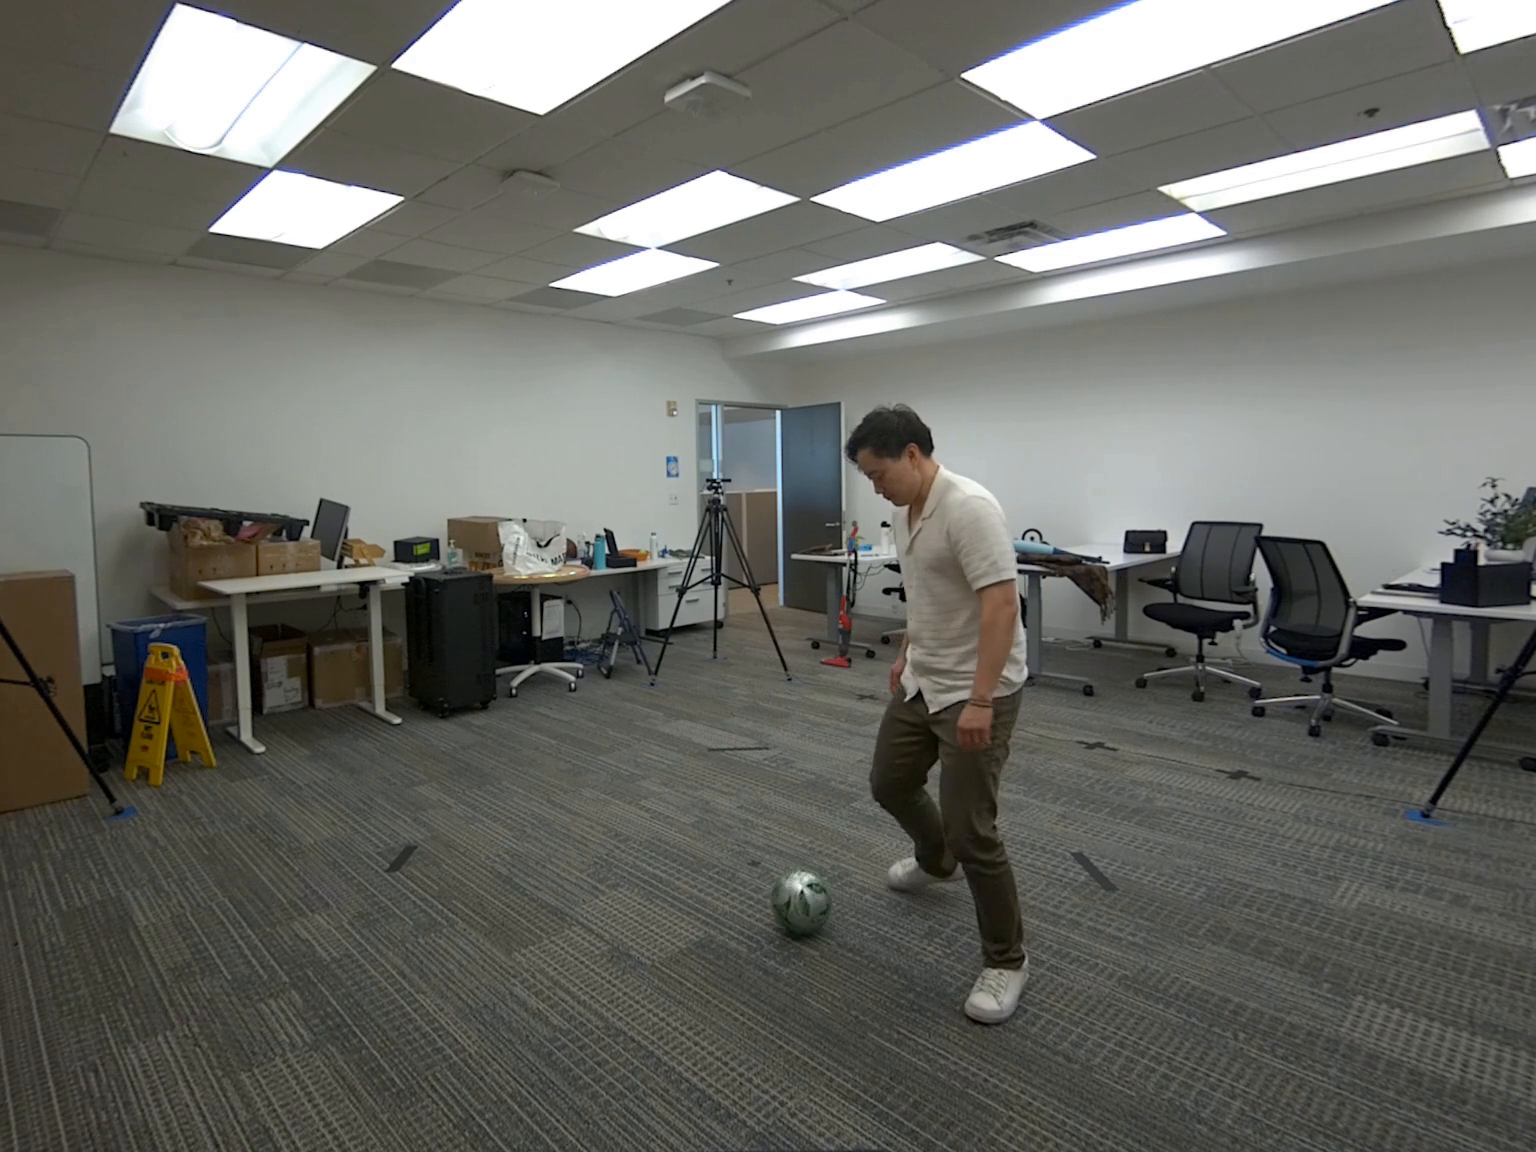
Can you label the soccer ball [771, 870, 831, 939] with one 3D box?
[{"bbox_3d":[0.105,1.001,2.634,0.187,0.187,0.188,-1,5,-2],"label":"soccer ball"}]
